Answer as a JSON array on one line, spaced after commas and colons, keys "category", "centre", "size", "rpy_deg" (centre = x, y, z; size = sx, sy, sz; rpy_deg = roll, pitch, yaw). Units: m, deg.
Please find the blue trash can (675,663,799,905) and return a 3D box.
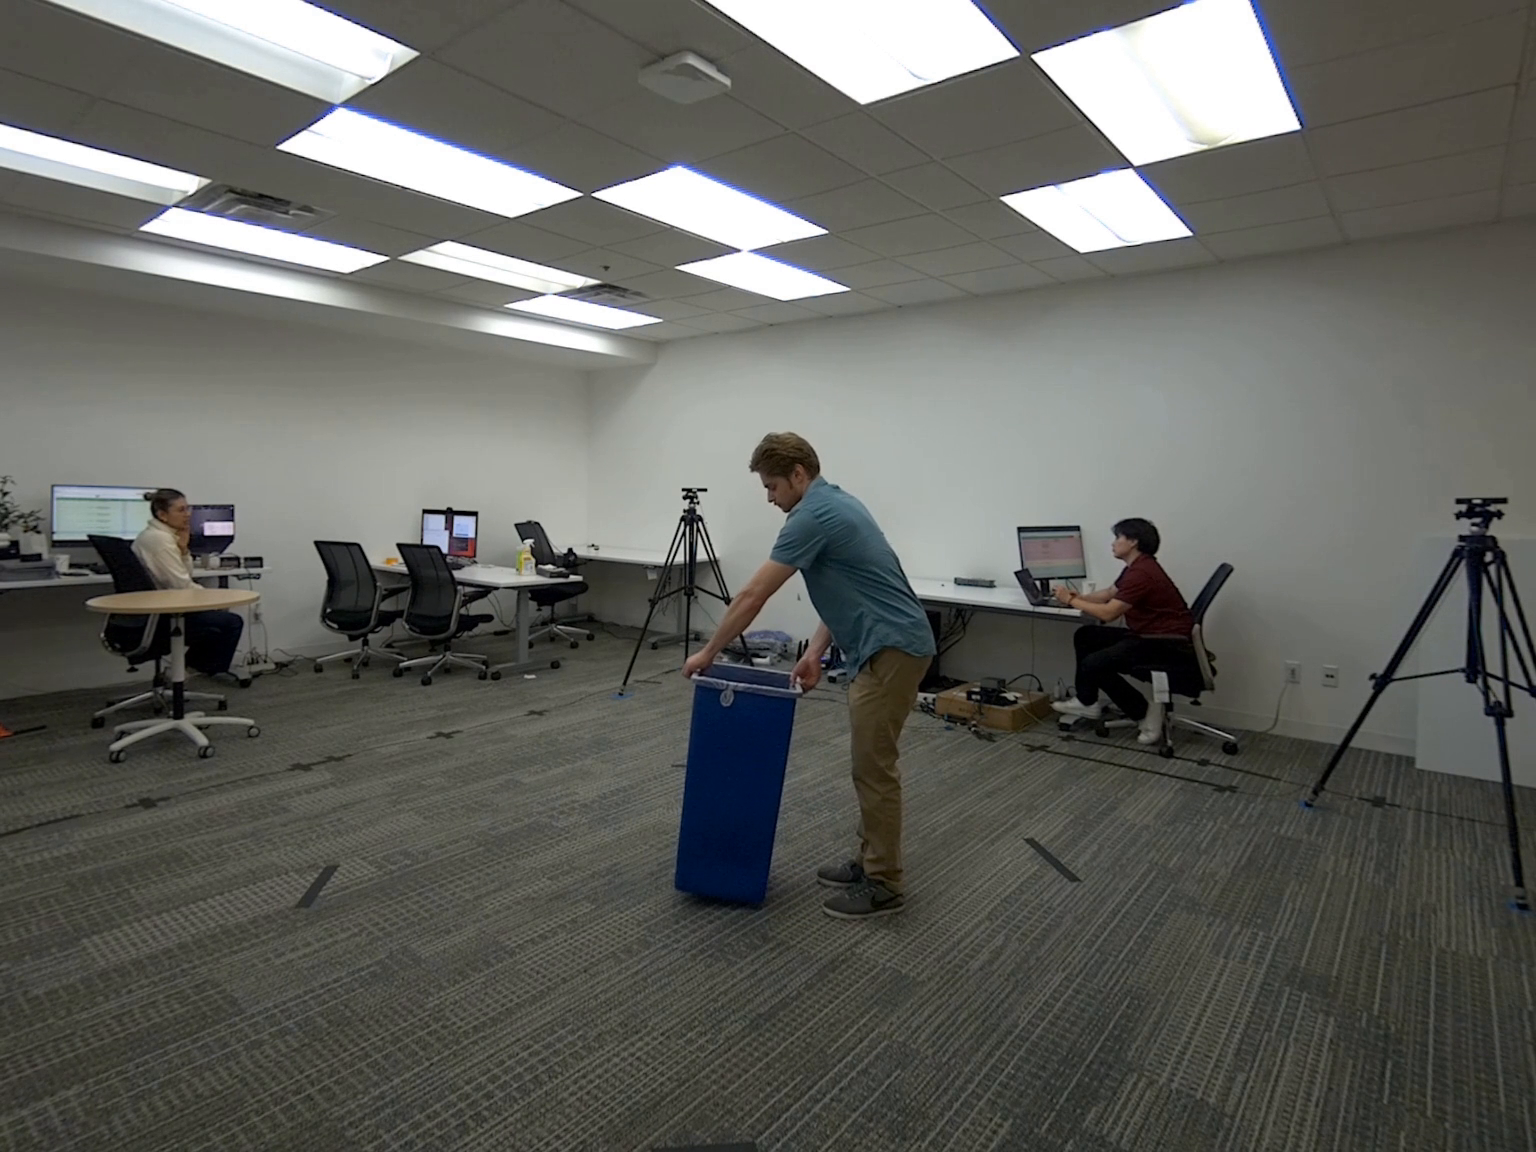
[{"category": "blue trash can", "centre": [-0.117, 0.697, 2.954], "size": [0.374, 0.713, 0.378], "rpy_deg": [6, 1, -1]}]
